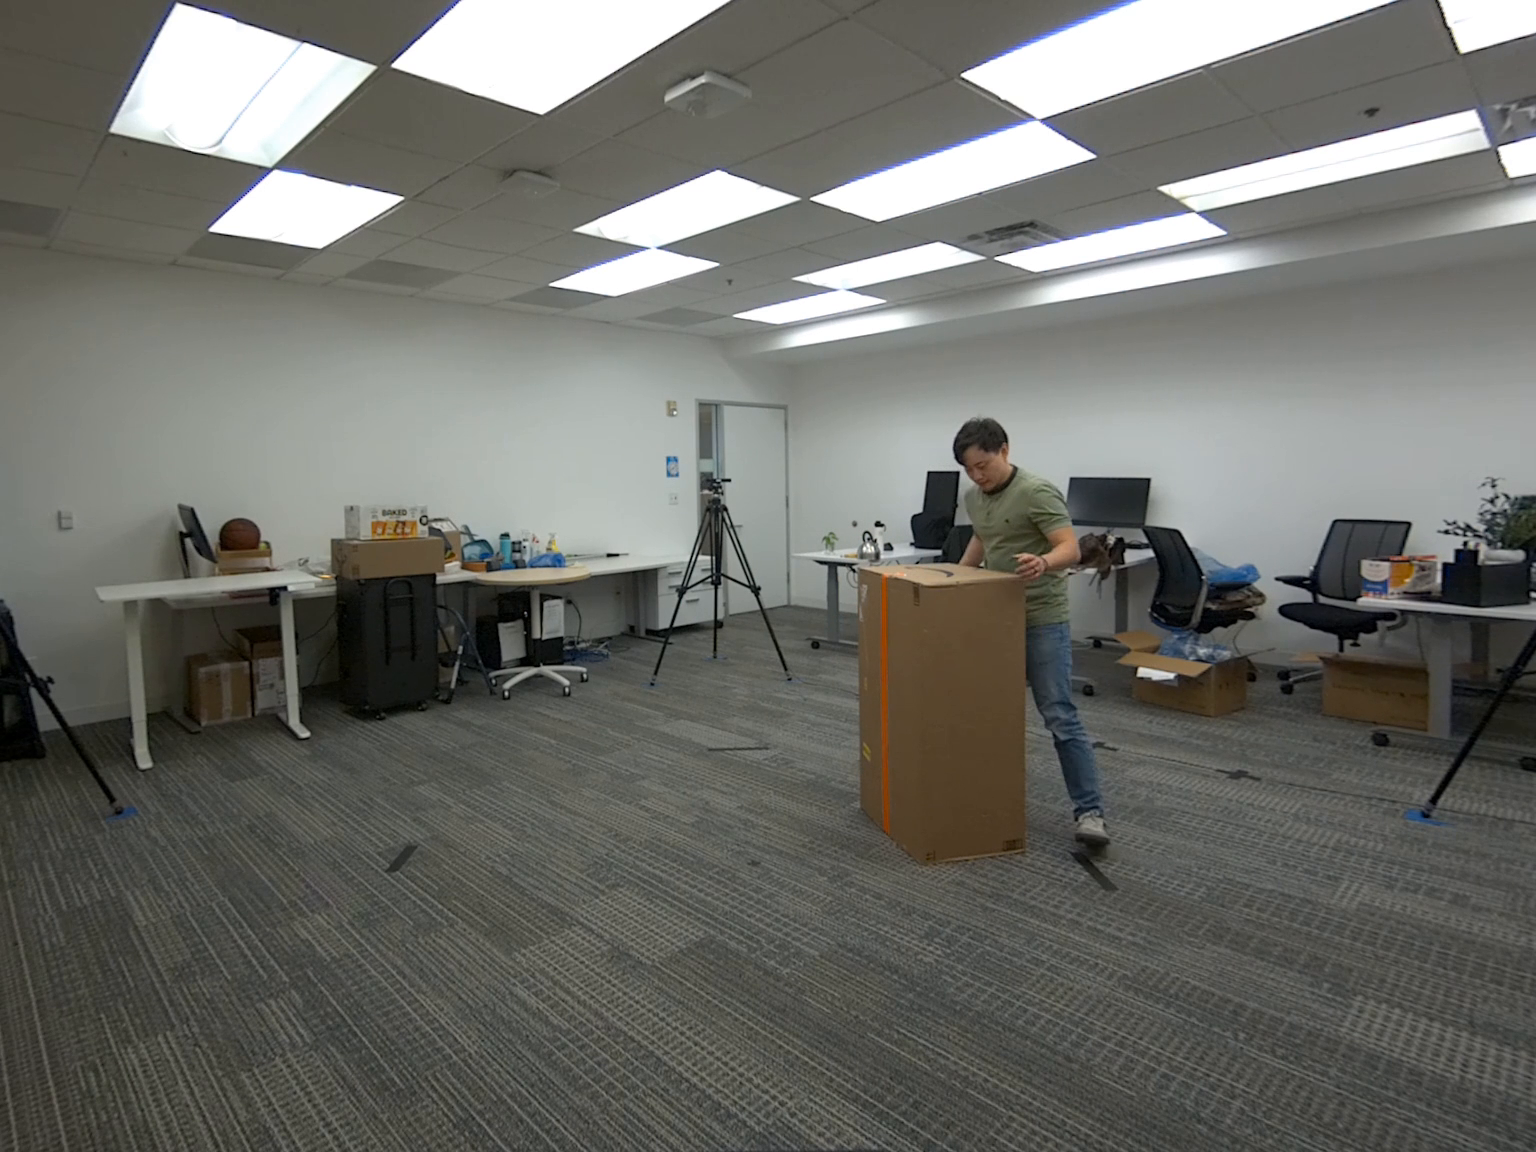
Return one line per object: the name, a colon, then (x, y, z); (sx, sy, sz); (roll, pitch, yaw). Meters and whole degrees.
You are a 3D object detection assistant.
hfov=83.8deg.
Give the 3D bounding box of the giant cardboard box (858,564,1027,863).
giant cardboard box: (0.661, 0.492, 3.346); (0.420, 1.022, 0.588); (-2, 4, -16)
